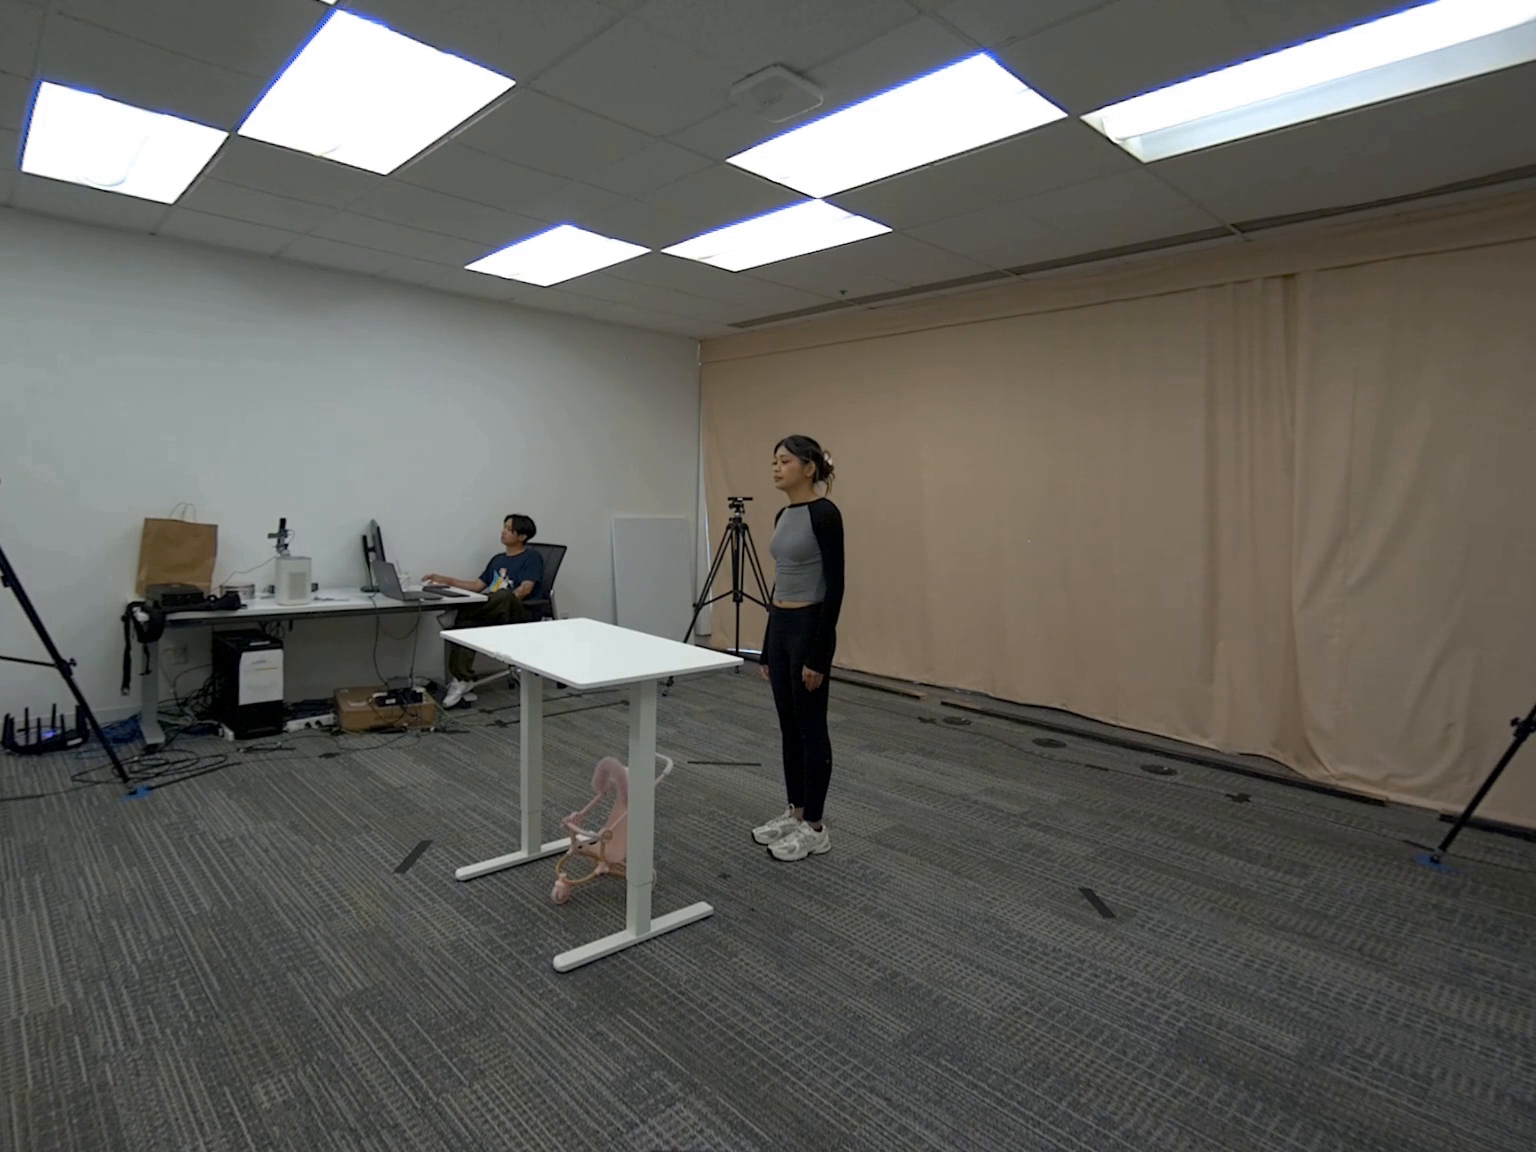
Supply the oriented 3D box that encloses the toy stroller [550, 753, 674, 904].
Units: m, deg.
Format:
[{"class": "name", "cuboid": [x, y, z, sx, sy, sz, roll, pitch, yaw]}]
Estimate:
[{"class": "toy stroller", "cuboid": [-0.572, 0.885, 2.972, 0.332, 0.536, 0.288, 17, -7, -37]}]
